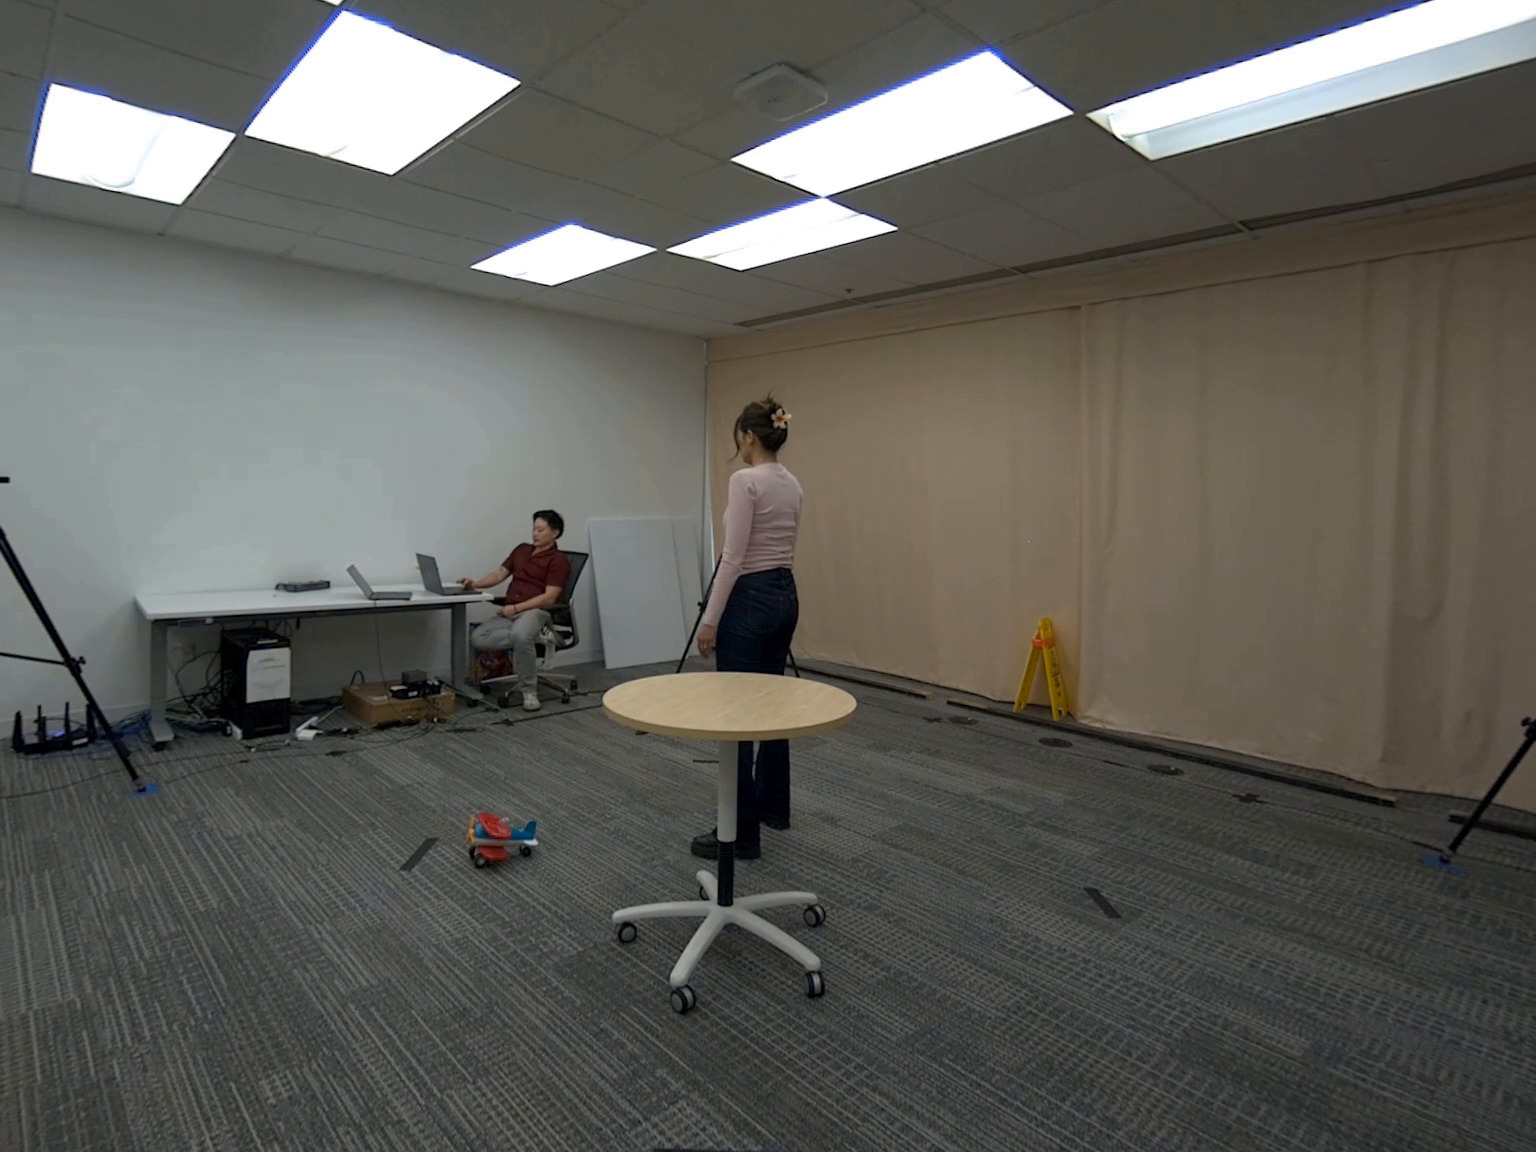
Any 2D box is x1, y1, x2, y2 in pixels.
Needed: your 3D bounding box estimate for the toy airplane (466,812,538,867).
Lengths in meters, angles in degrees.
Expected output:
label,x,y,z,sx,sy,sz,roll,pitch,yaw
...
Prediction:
label,x,y,z,sx,sy,sz,roll,pitch,yaw
toy airplane,-1.030,1.001,3.200,0.257,0.156,0.254,4,6,31
